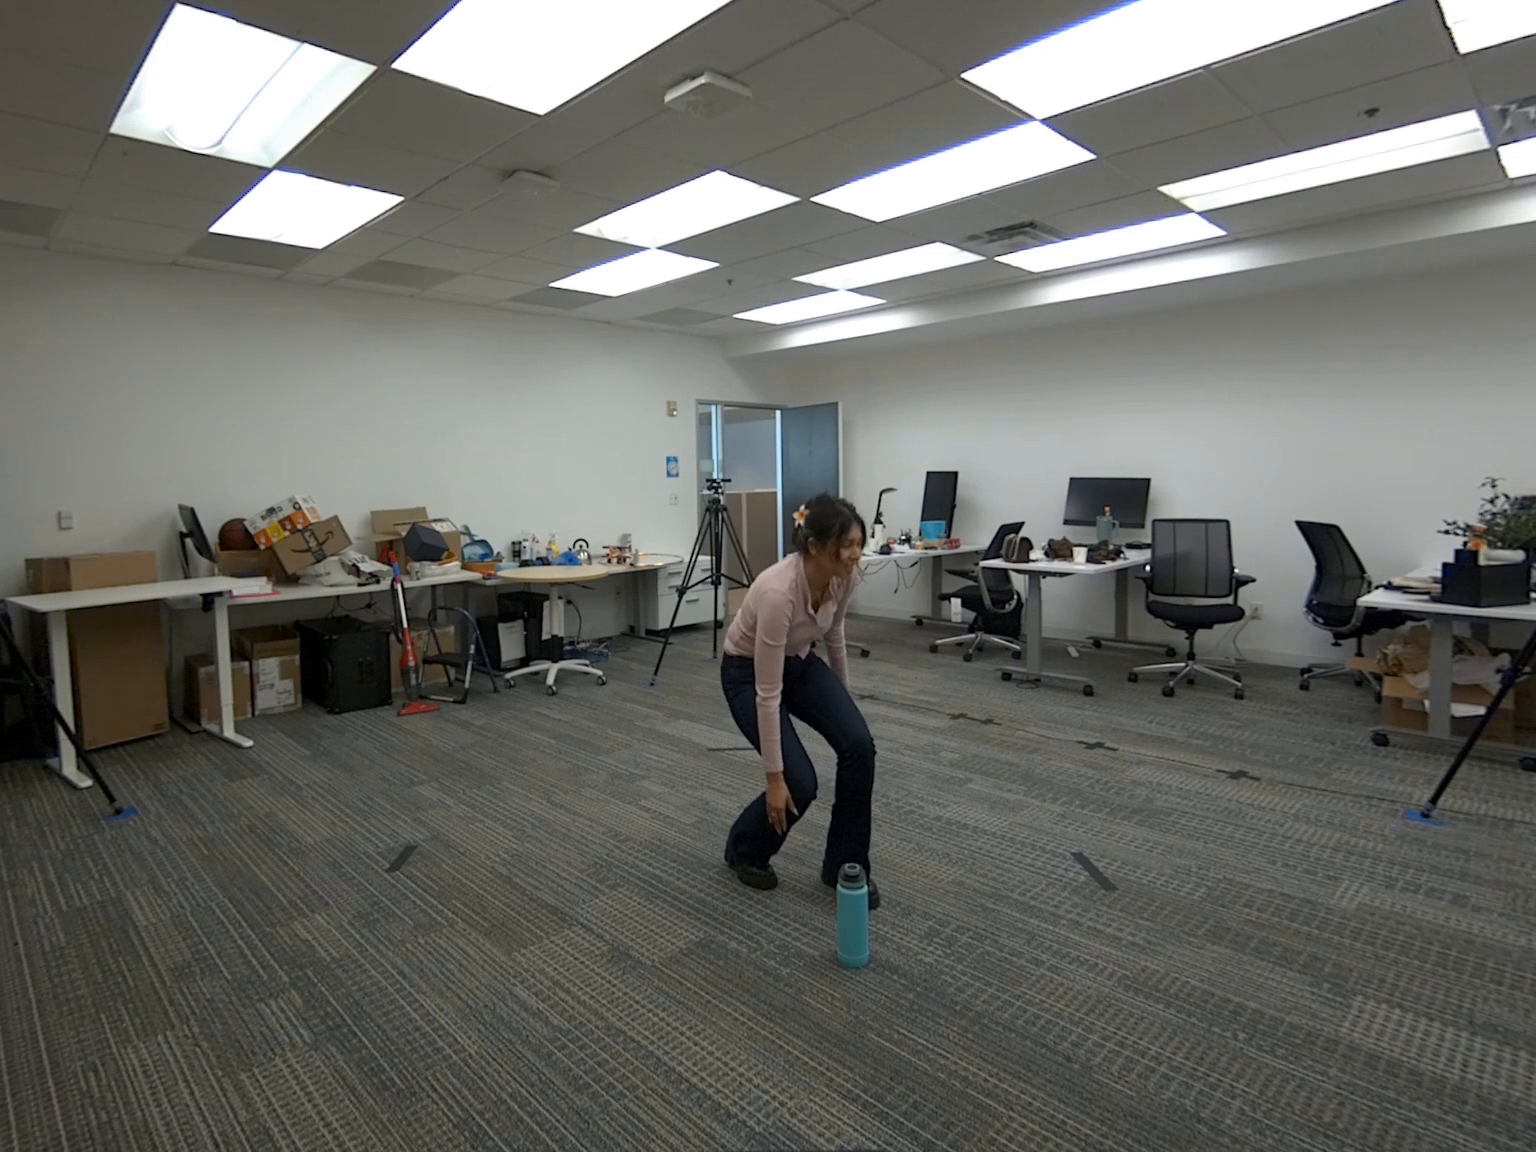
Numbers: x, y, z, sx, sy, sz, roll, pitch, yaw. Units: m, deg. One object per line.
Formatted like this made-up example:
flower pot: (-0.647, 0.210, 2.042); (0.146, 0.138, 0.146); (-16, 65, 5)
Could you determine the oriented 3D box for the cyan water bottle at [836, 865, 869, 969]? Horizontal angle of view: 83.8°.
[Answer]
cyan water bottle: (0.249, 0.970, 2.470); (0.092, 0.283, 0.092); (-2, 1, -2)
